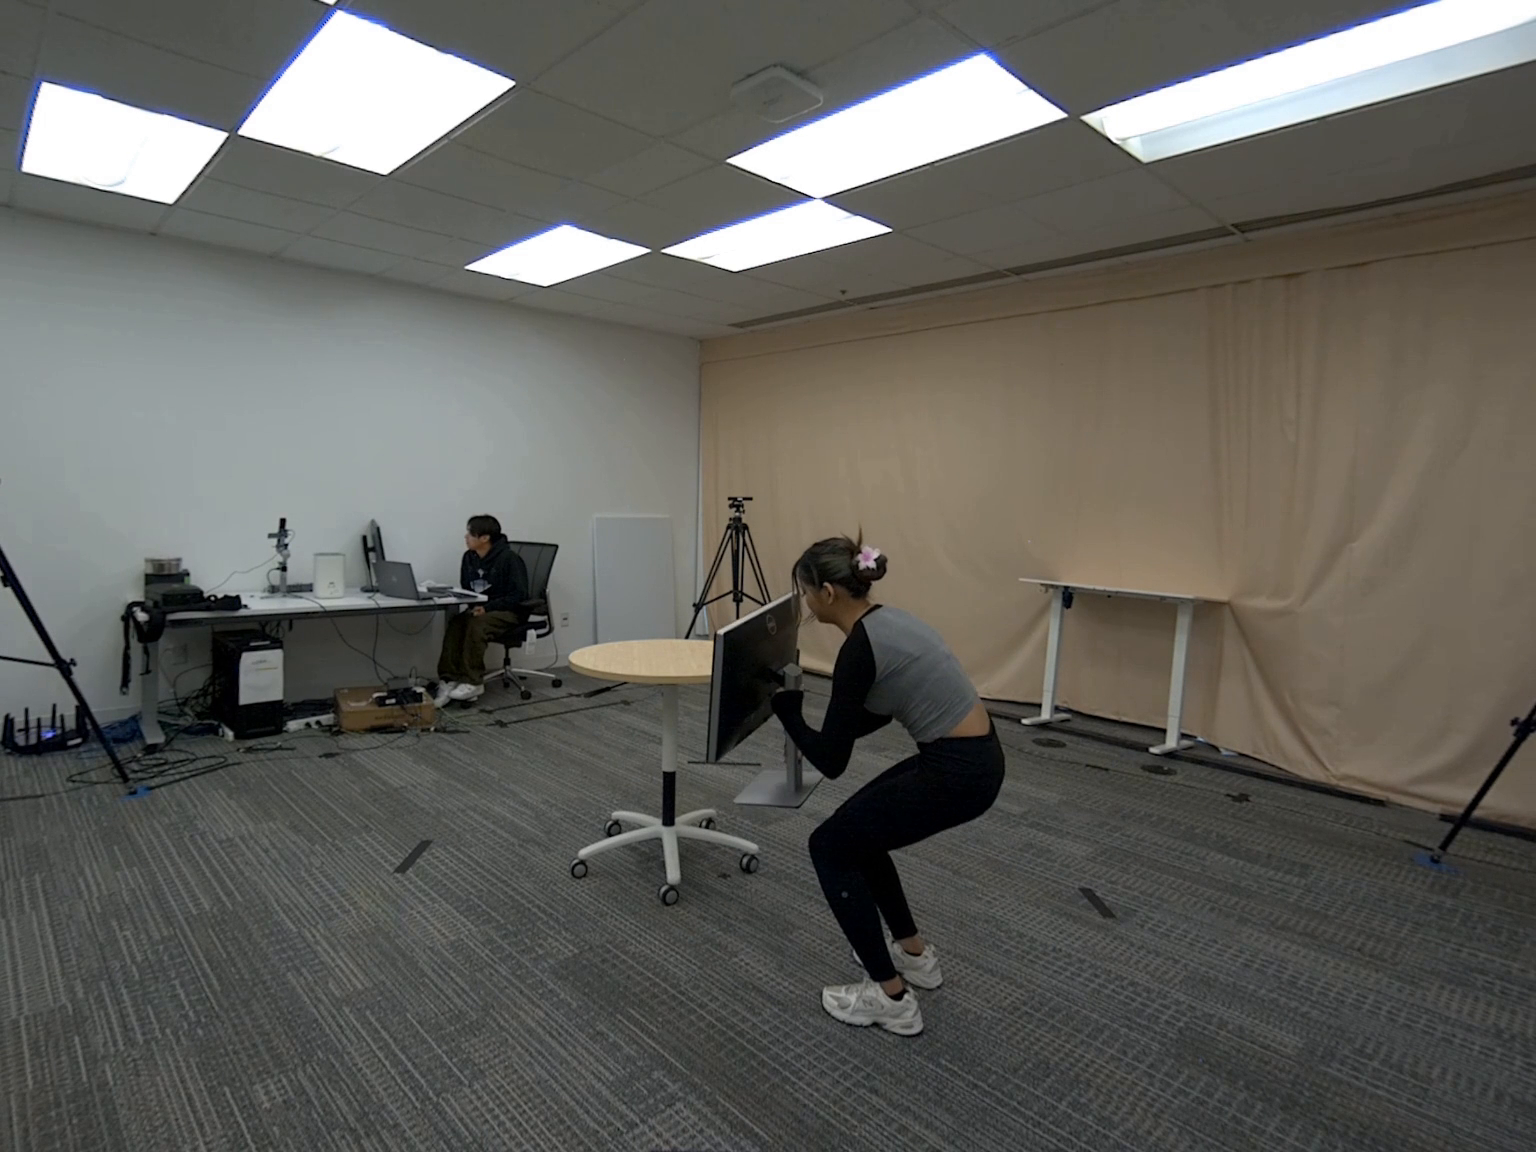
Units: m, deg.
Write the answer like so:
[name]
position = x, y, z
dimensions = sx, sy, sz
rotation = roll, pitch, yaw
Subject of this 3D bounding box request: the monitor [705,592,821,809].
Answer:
[monitor]
position = 0.009, 0.365, 2.434
dimensions = 0.190, 0.520, 0.533
rotation = -6, 7, 23
